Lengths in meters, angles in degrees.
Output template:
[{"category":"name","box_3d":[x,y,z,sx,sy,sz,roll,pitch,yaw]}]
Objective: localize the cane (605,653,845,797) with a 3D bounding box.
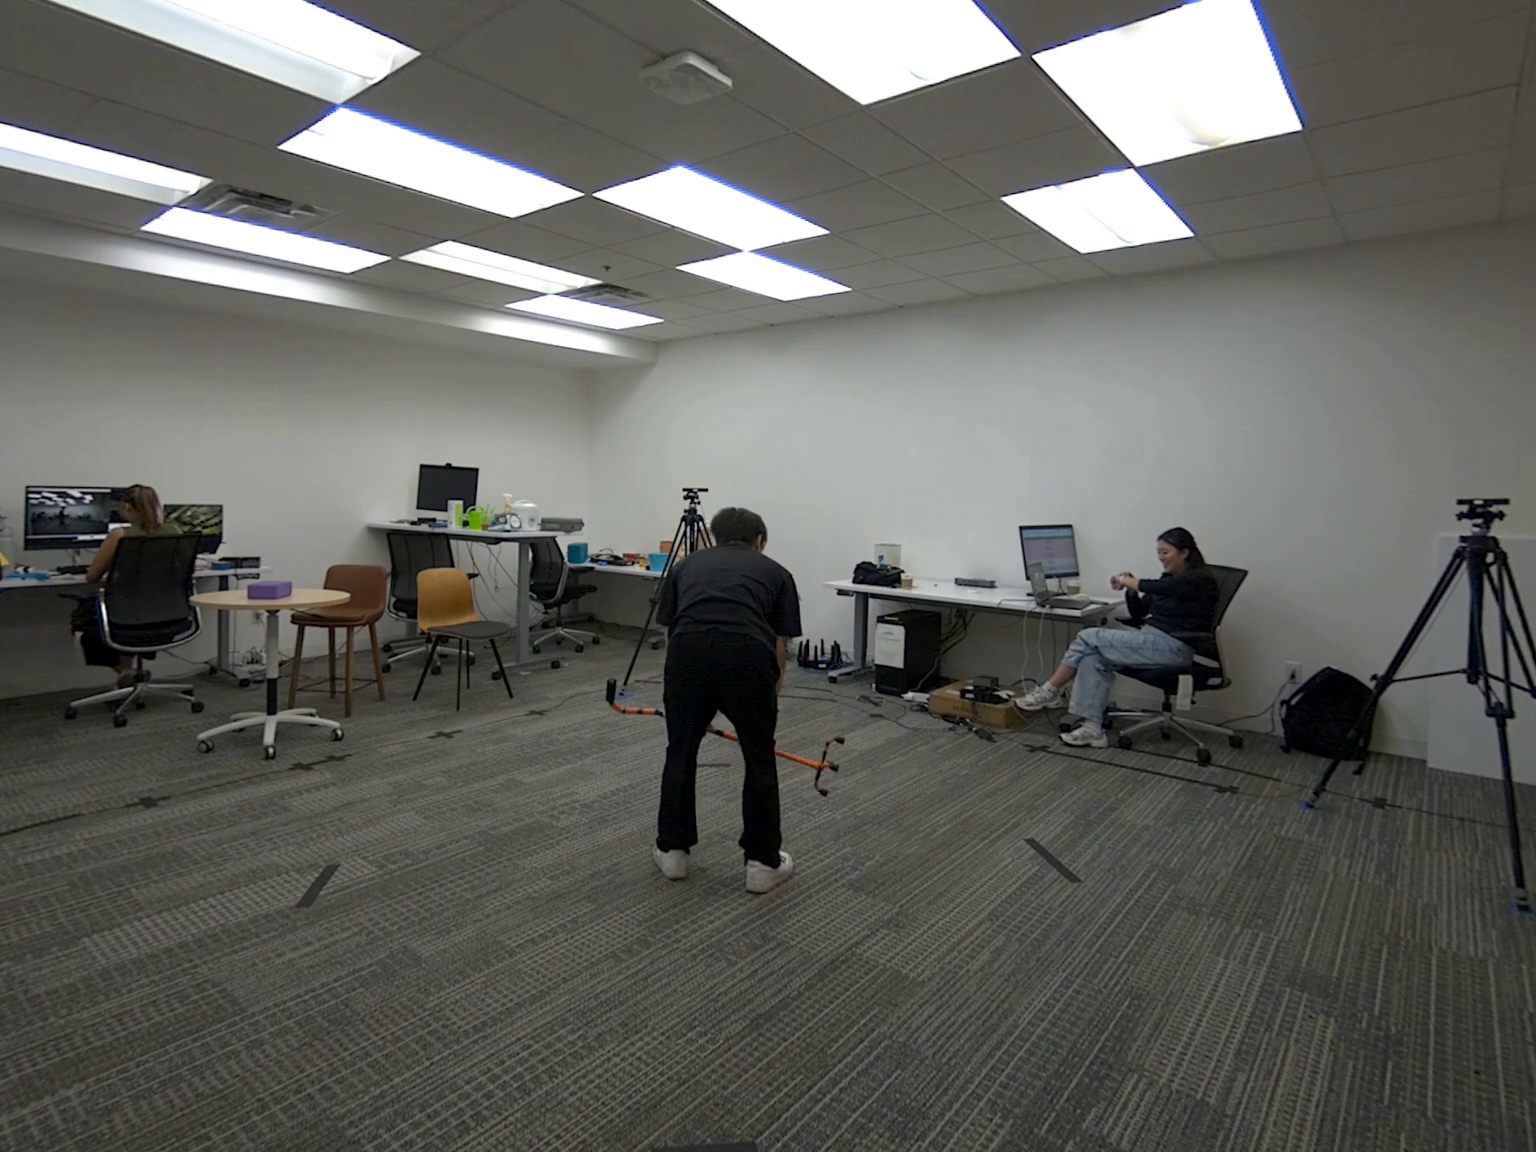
[{"category":"cane","box_3d":[-0.194,0.589,3.236,0.915,0.202,0.154,17,43,5]}]
